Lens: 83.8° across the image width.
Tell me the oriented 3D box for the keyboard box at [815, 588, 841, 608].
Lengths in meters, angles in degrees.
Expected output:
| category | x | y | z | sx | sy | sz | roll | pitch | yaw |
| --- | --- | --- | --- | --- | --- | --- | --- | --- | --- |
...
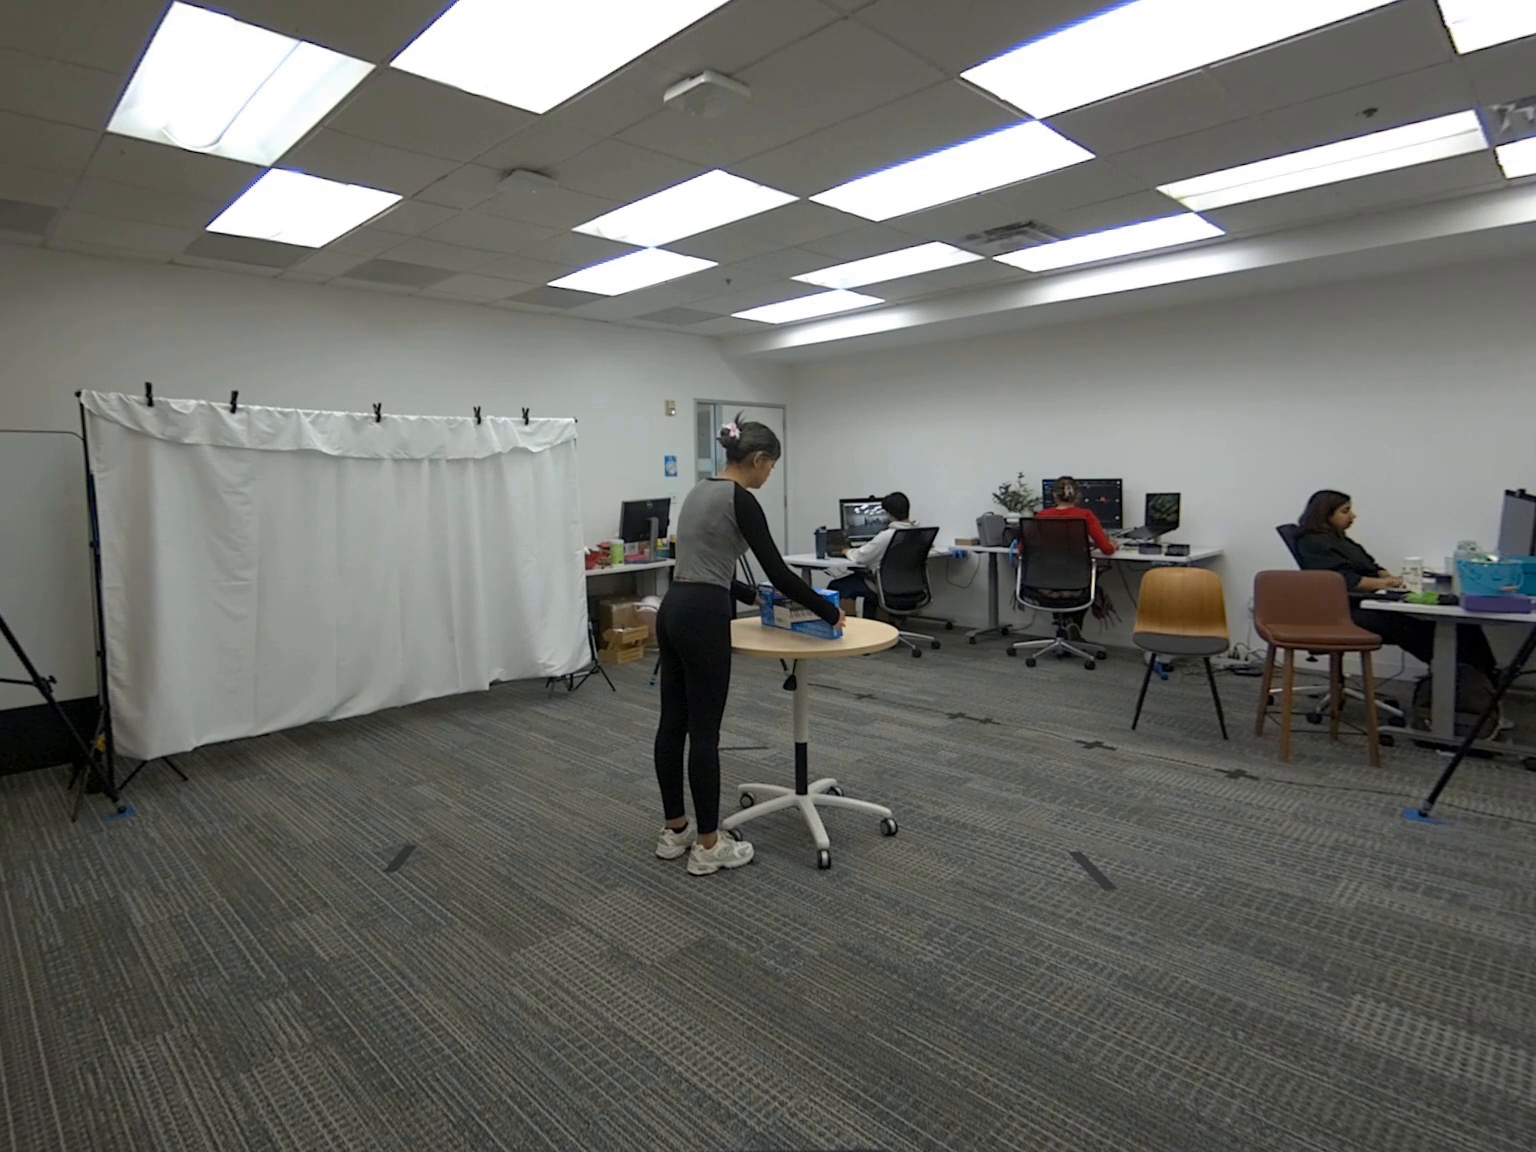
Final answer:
| category | x | y | z | sx | sy | sz | roll | pitch | yaw |
| --- | --- | --- | --- | --- | --- | --- | --- | --- | --- |
| keyboard box | 0.125 | 0.133 | 3.354 | 0.058 | 0.174 | 0.450 | -11 | 10 | -34 |
